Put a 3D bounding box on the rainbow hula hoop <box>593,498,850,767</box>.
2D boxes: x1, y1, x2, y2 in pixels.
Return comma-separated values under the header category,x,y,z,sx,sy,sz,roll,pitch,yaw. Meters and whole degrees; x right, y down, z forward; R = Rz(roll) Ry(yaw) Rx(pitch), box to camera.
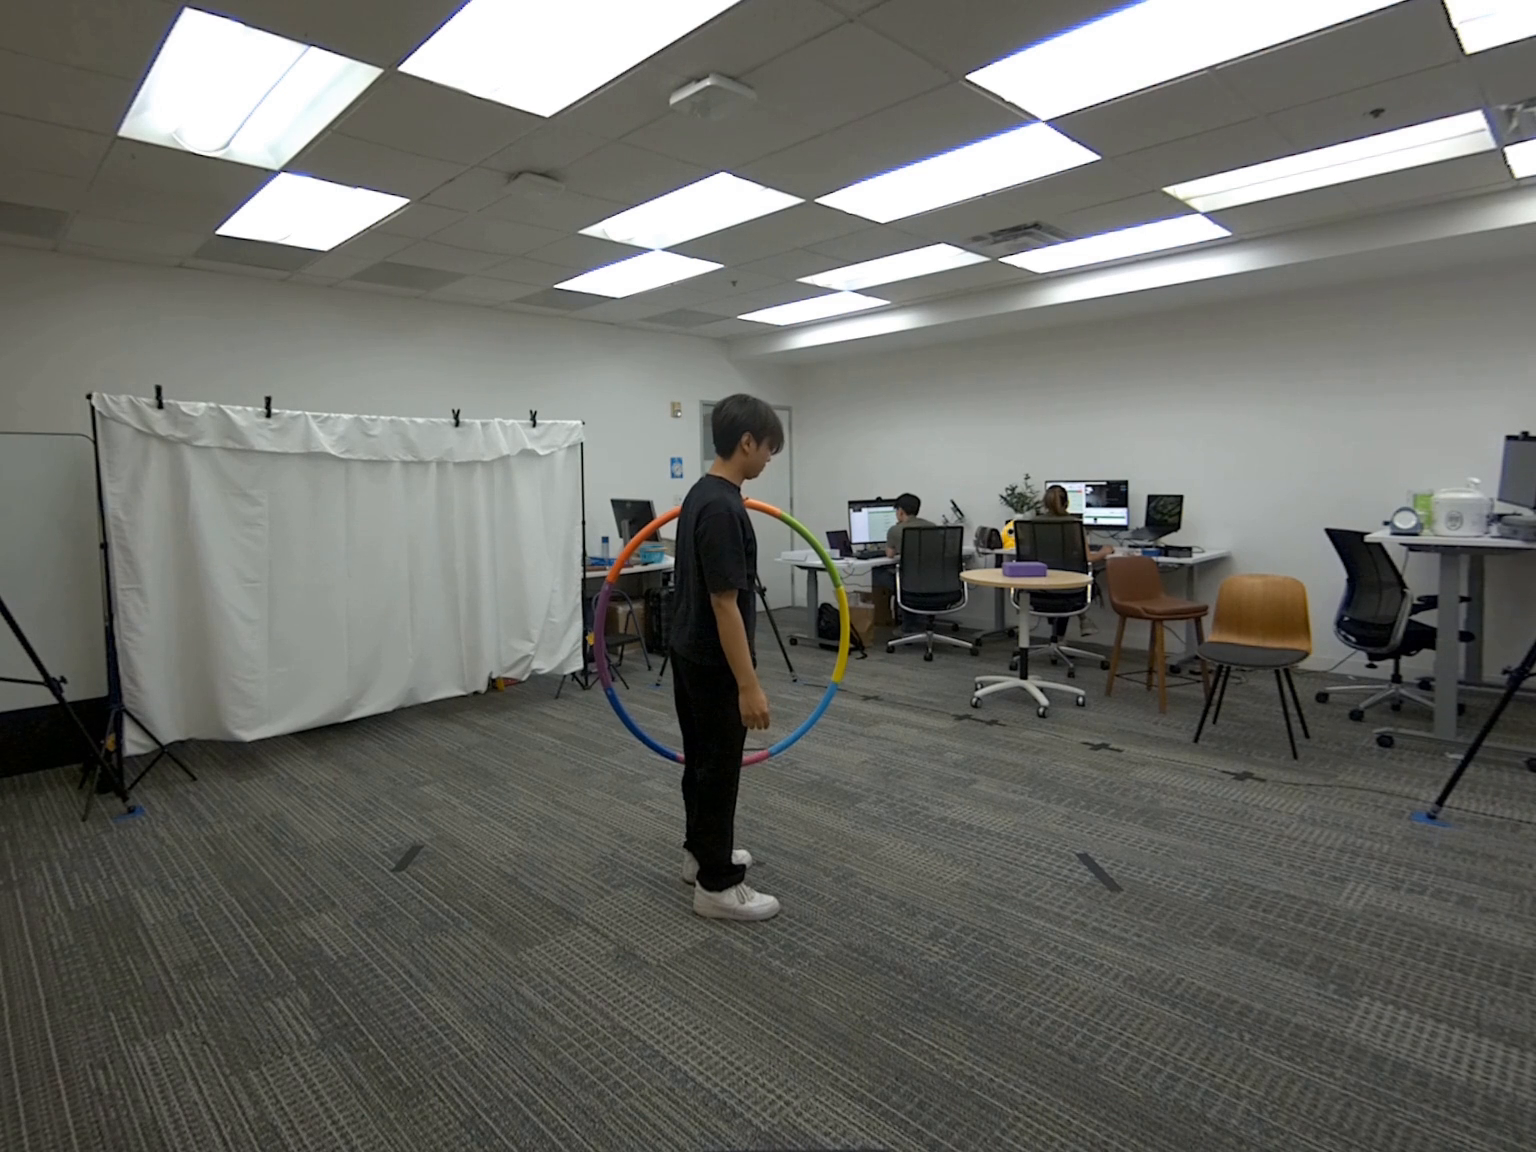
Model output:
category,x,y,z,sx,sy,sz,roll,pitch,yaw
rainbow hula hoop,-0.146,0.203,3.113,0.962,0.976,0.036,-3,3,-18
